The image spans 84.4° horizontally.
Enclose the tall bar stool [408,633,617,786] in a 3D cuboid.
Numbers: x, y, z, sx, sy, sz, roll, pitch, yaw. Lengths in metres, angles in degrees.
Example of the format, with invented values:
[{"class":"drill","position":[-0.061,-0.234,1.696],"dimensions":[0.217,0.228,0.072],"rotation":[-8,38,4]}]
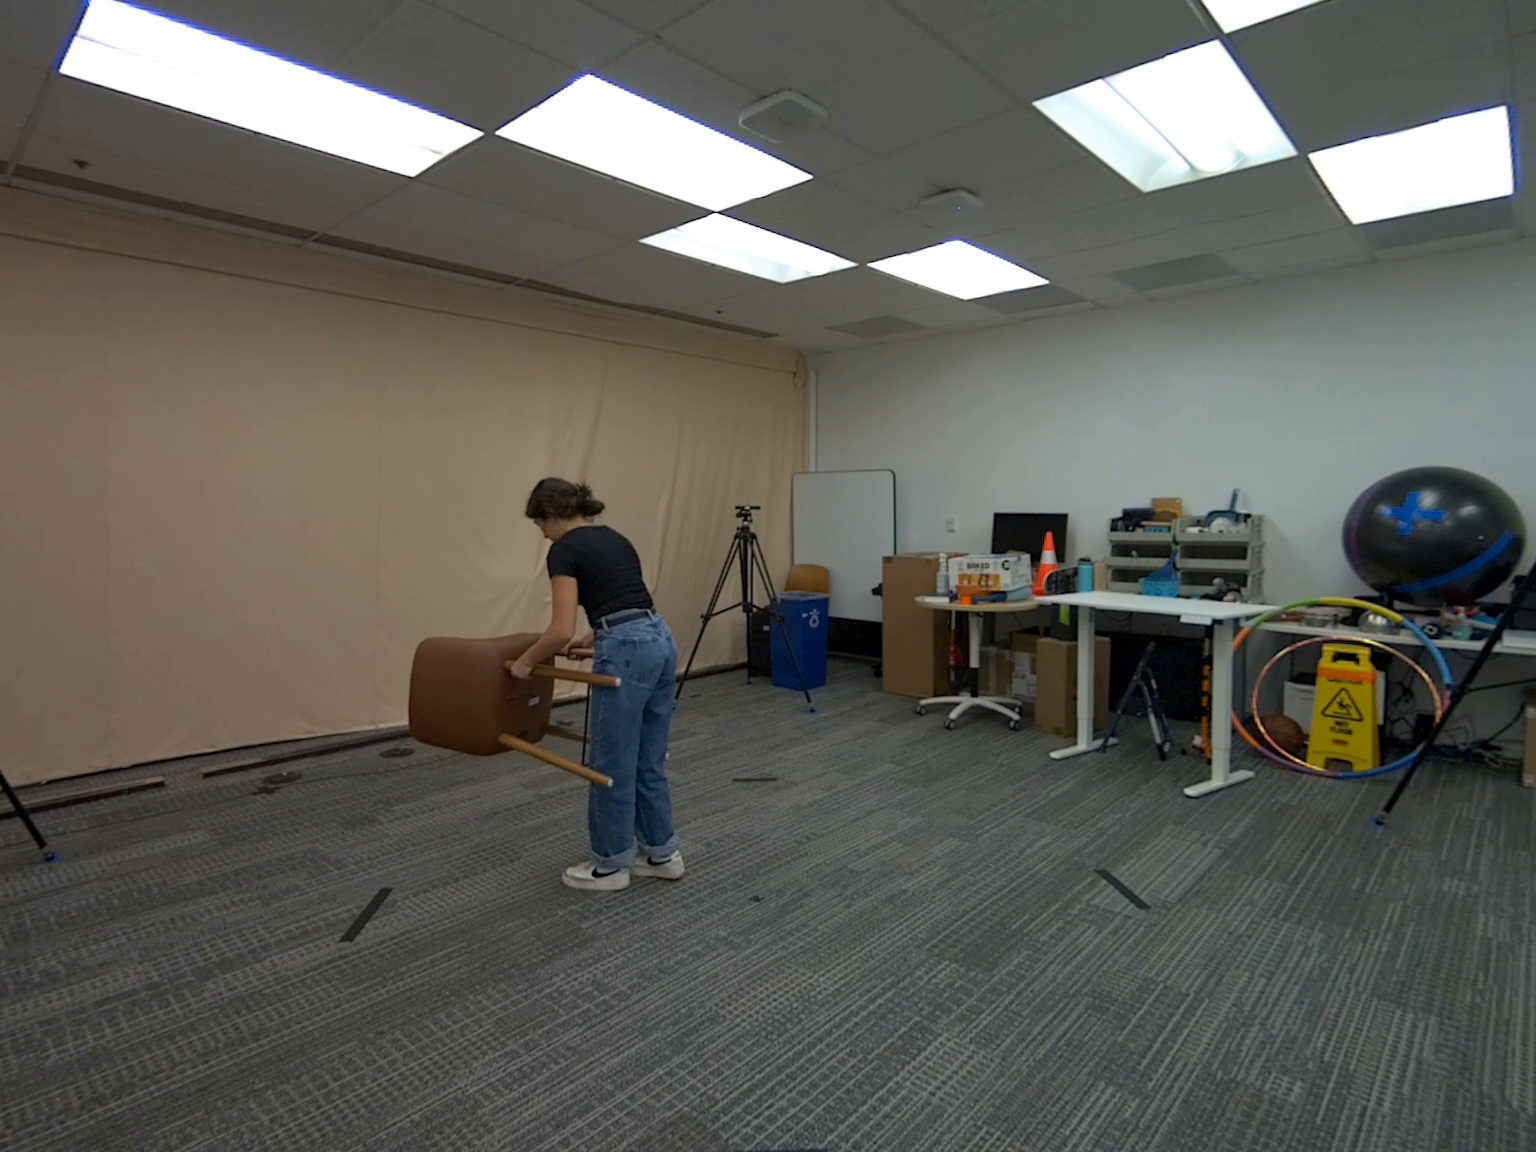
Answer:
[{"class":"tall bar stool","position":[-0.860,0.475,3.210],"dimensions":[0.910,0.455,0.458],"rotation":[6,5,20]}]
